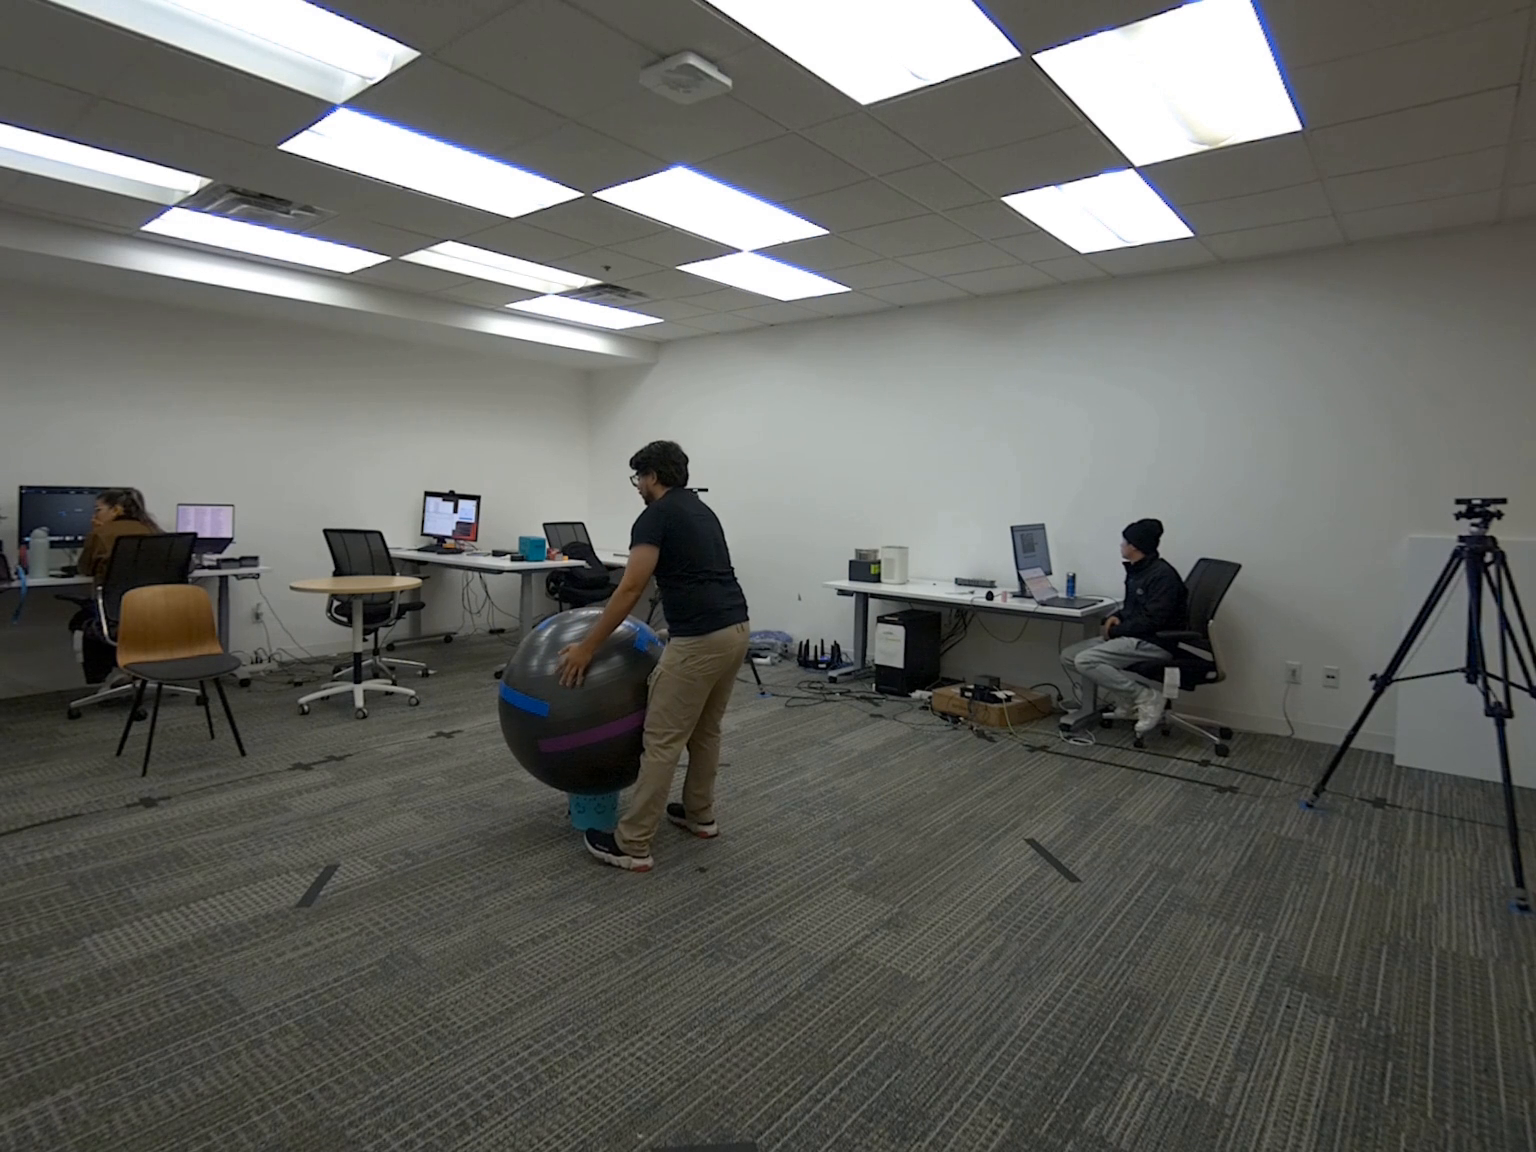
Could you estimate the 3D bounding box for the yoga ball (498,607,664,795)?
[{"bbox_3d":[-0.753,0.517,3.519,0.757,0.756,0.761,1,4,-2],"label":"yoga ball"}]
